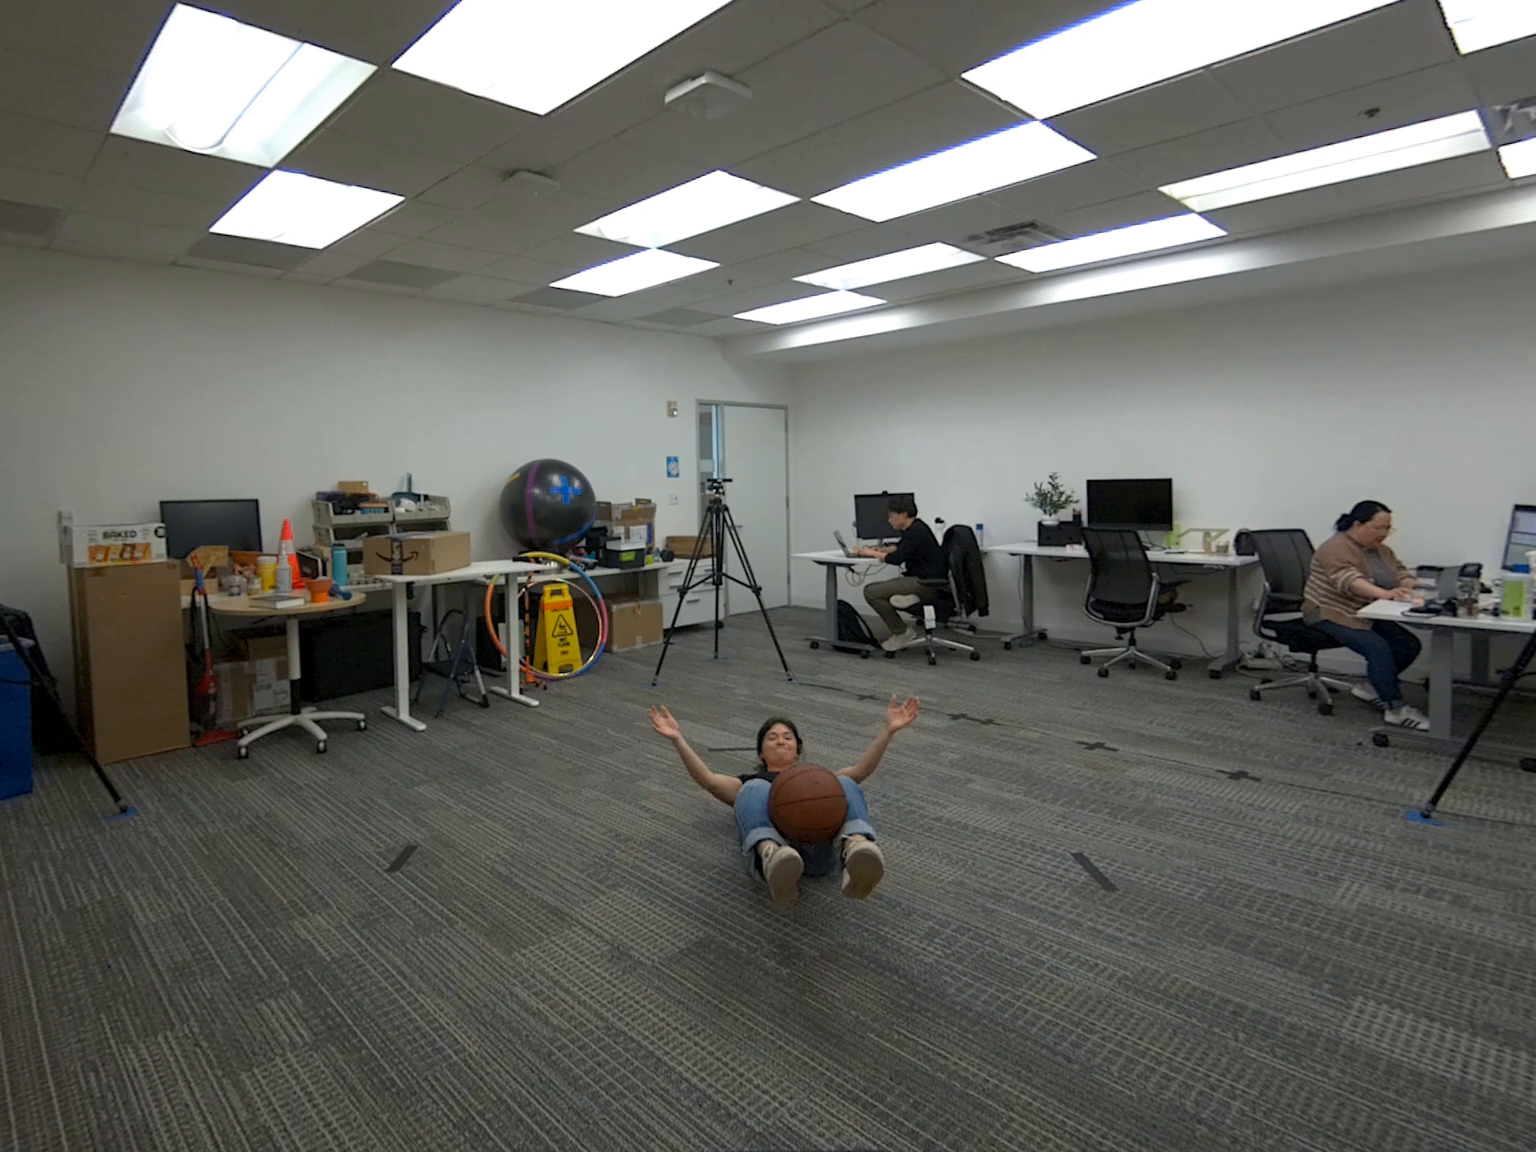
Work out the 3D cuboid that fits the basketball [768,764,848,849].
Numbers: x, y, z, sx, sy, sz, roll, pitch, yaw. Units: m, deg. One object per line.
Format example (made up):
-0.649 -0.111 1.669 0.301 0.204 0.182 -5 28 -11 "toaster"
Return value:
0.121 0.682 2.580 0.236 0.235 0.237 -1 5 -2 "basketball"
